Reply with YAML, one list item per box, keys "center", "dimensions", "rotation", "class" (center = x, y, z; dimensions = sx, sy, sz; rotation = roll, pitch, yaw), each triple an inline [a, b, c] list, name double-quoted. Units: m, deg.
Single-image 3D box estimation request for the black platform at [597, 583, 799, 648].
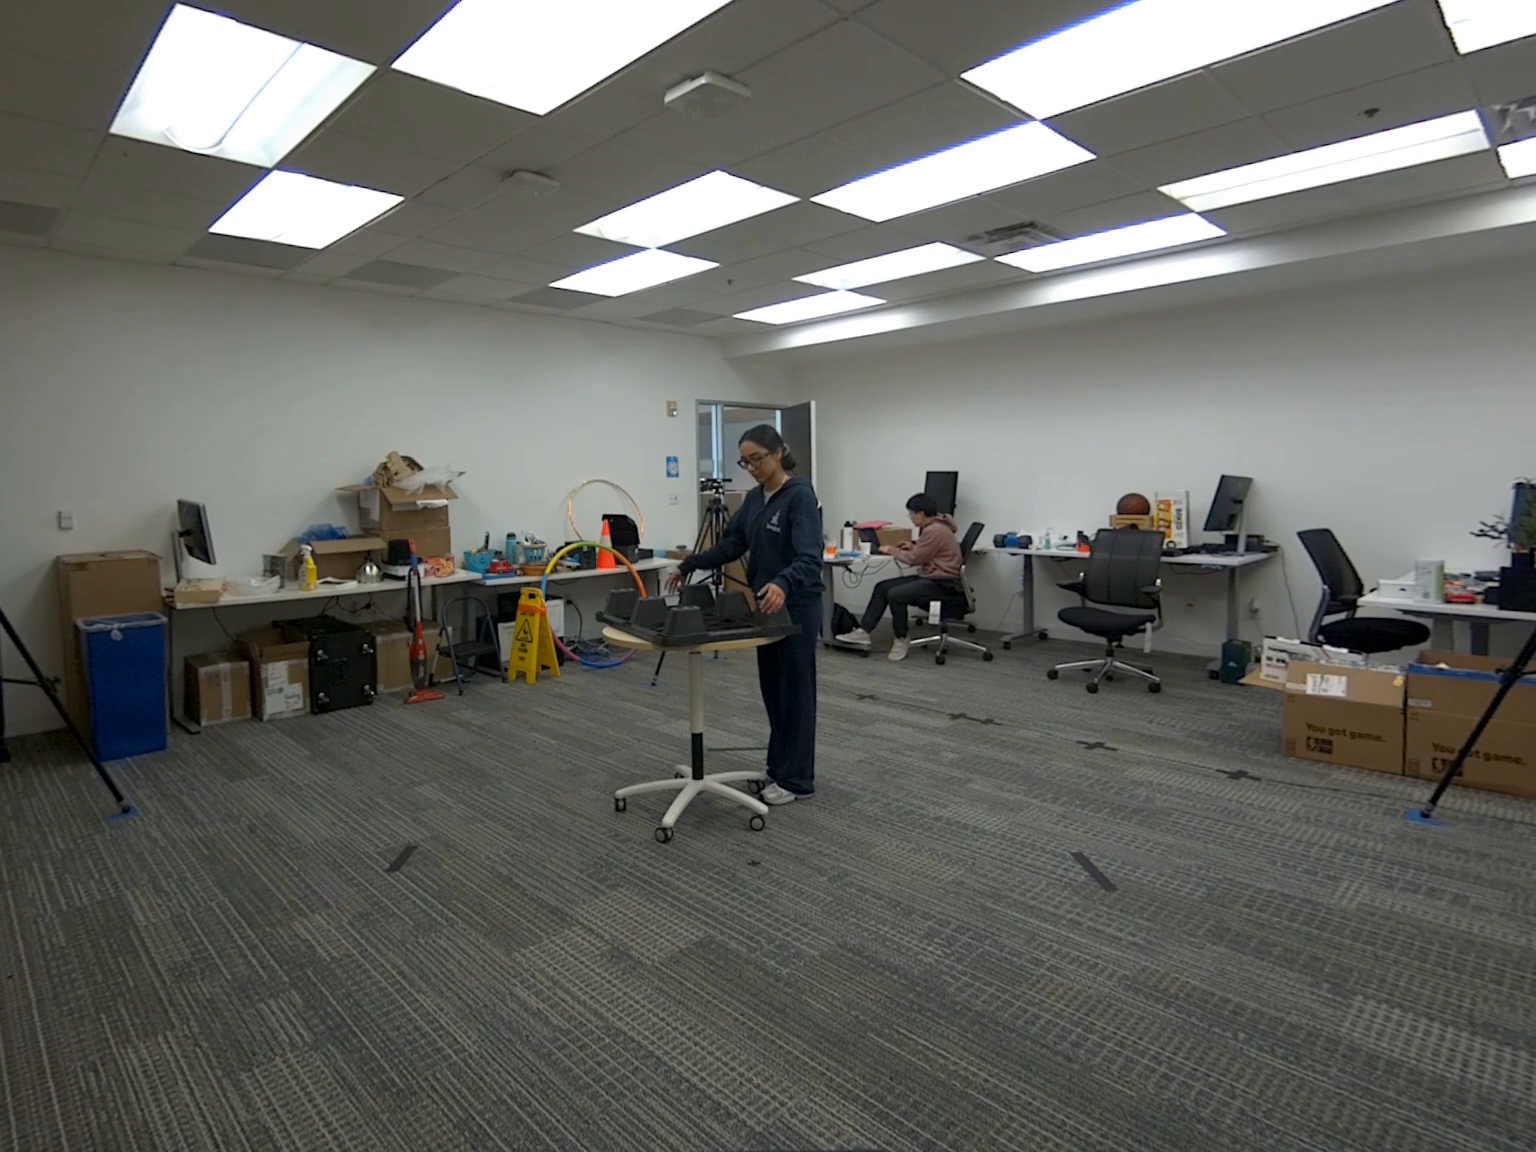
- center: [-0.326, 0.151, 3.589]
  dimensions: [0.591, 0.143, 0.827]
  rotation: [-3, 6, -28]
  class: "black platform"
